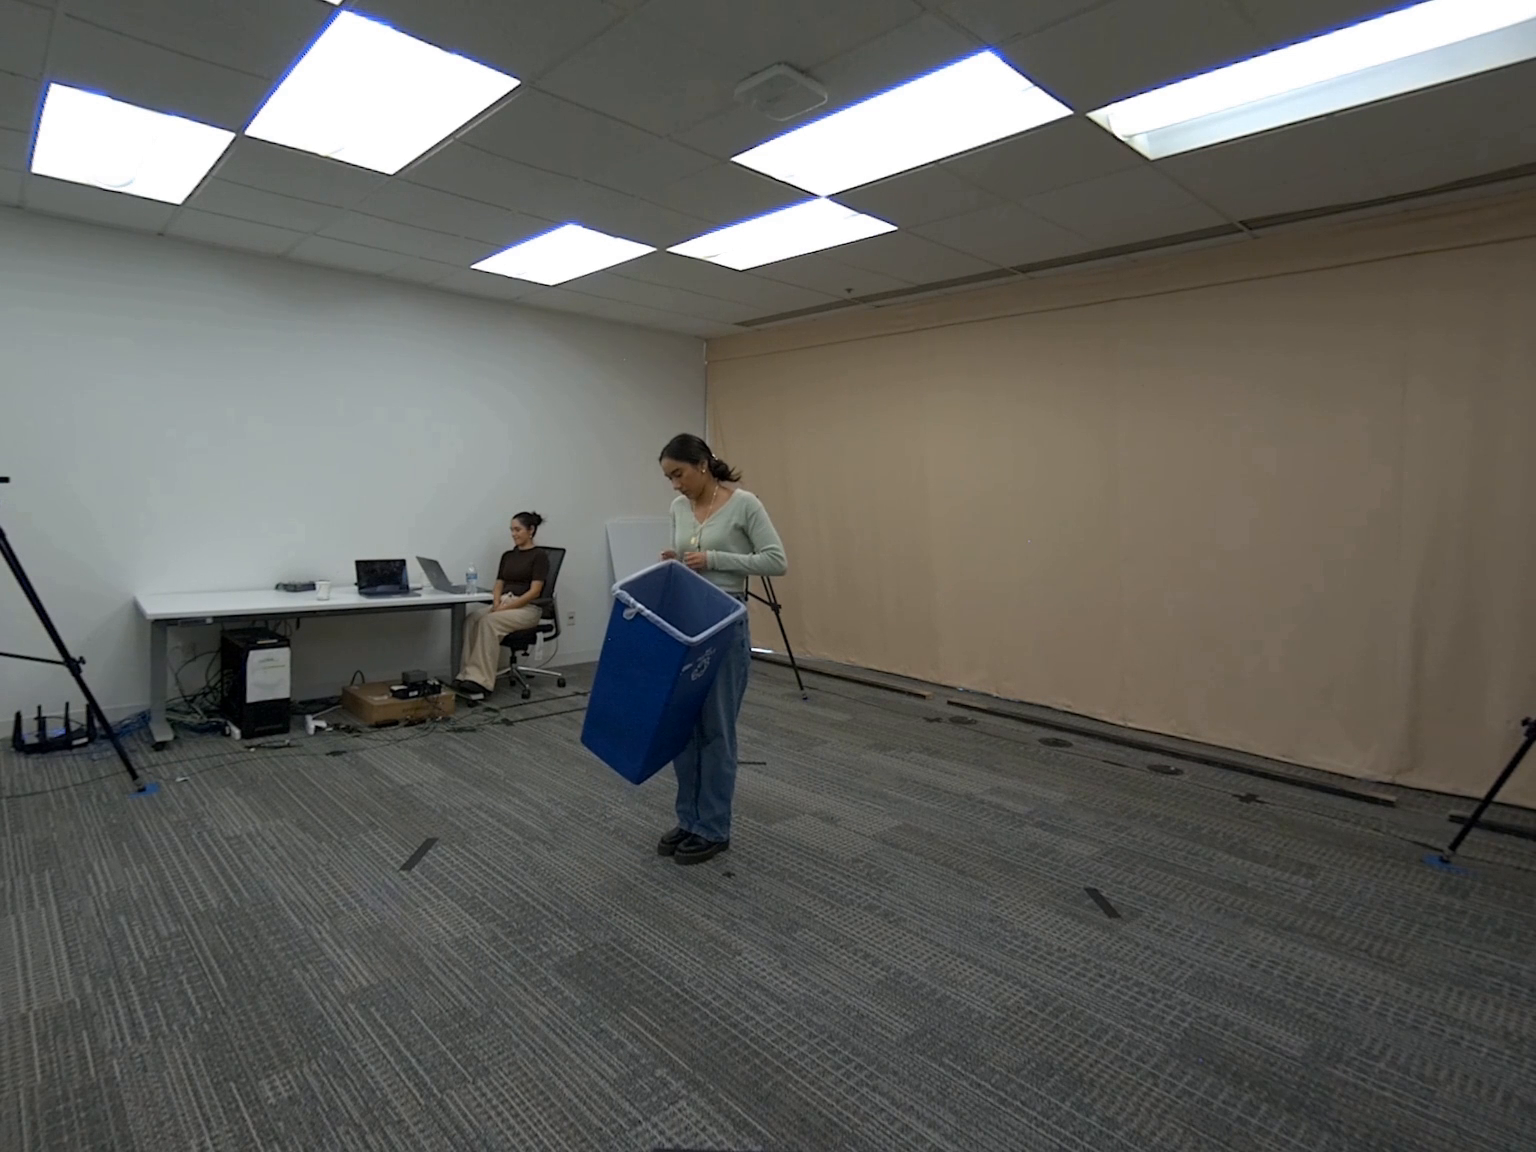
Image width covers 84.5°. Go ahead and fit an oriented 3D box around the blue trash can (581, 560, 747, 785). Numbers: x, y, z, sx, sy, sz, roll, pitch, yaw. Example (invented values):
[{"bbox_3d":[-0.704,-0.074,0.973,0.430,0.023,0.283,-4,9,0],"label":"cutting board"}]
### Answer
[{"bbox_3d":[-0.423,0.365,3.093,0.386,0.706,0.370,33,30,21],"label":"blue trash can"}]
